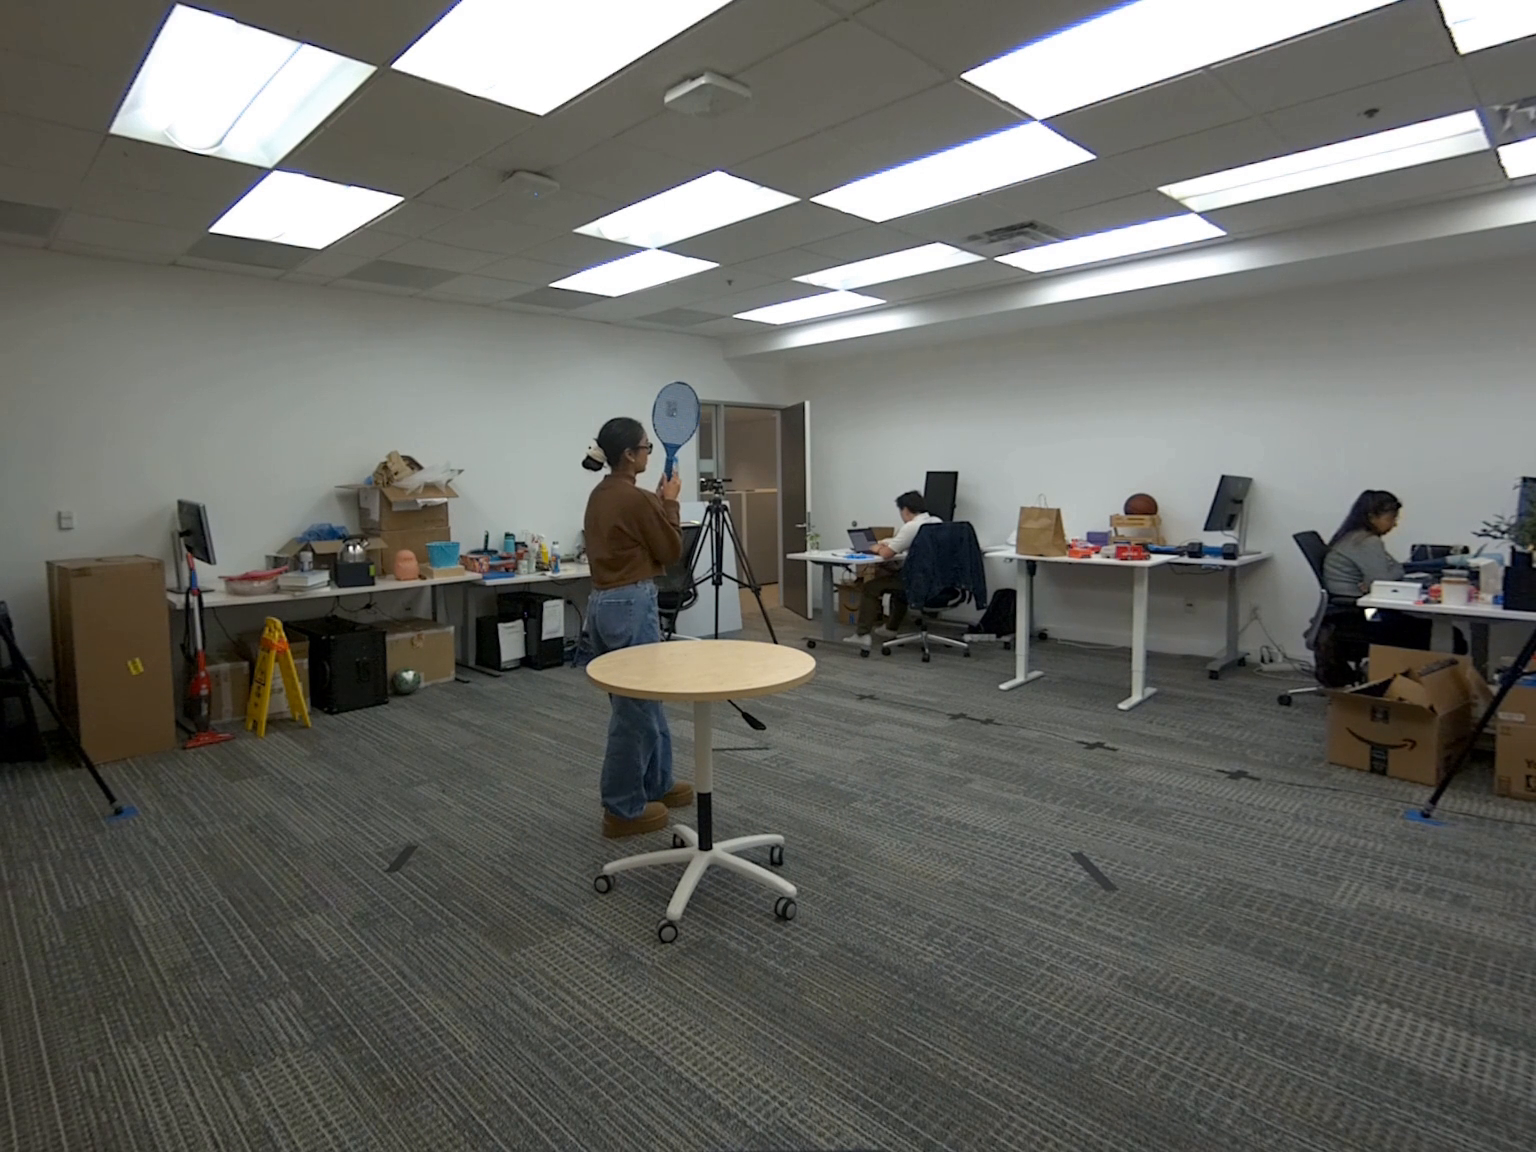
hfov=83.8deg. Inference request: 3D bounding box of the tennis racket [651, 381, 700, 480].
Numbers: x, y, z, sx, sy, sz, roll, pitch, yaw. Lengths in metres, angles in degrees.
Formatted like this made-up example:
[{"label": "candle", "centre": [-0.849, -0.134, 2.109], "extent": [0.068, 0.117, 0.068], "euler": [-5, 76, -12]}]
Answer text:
[{"label": "tennis racket", "centre": [-0.388, -0.582, 3.499], "extent": [0.207, 0.432, 0.033], "euler": [9, 4, -31]}]
